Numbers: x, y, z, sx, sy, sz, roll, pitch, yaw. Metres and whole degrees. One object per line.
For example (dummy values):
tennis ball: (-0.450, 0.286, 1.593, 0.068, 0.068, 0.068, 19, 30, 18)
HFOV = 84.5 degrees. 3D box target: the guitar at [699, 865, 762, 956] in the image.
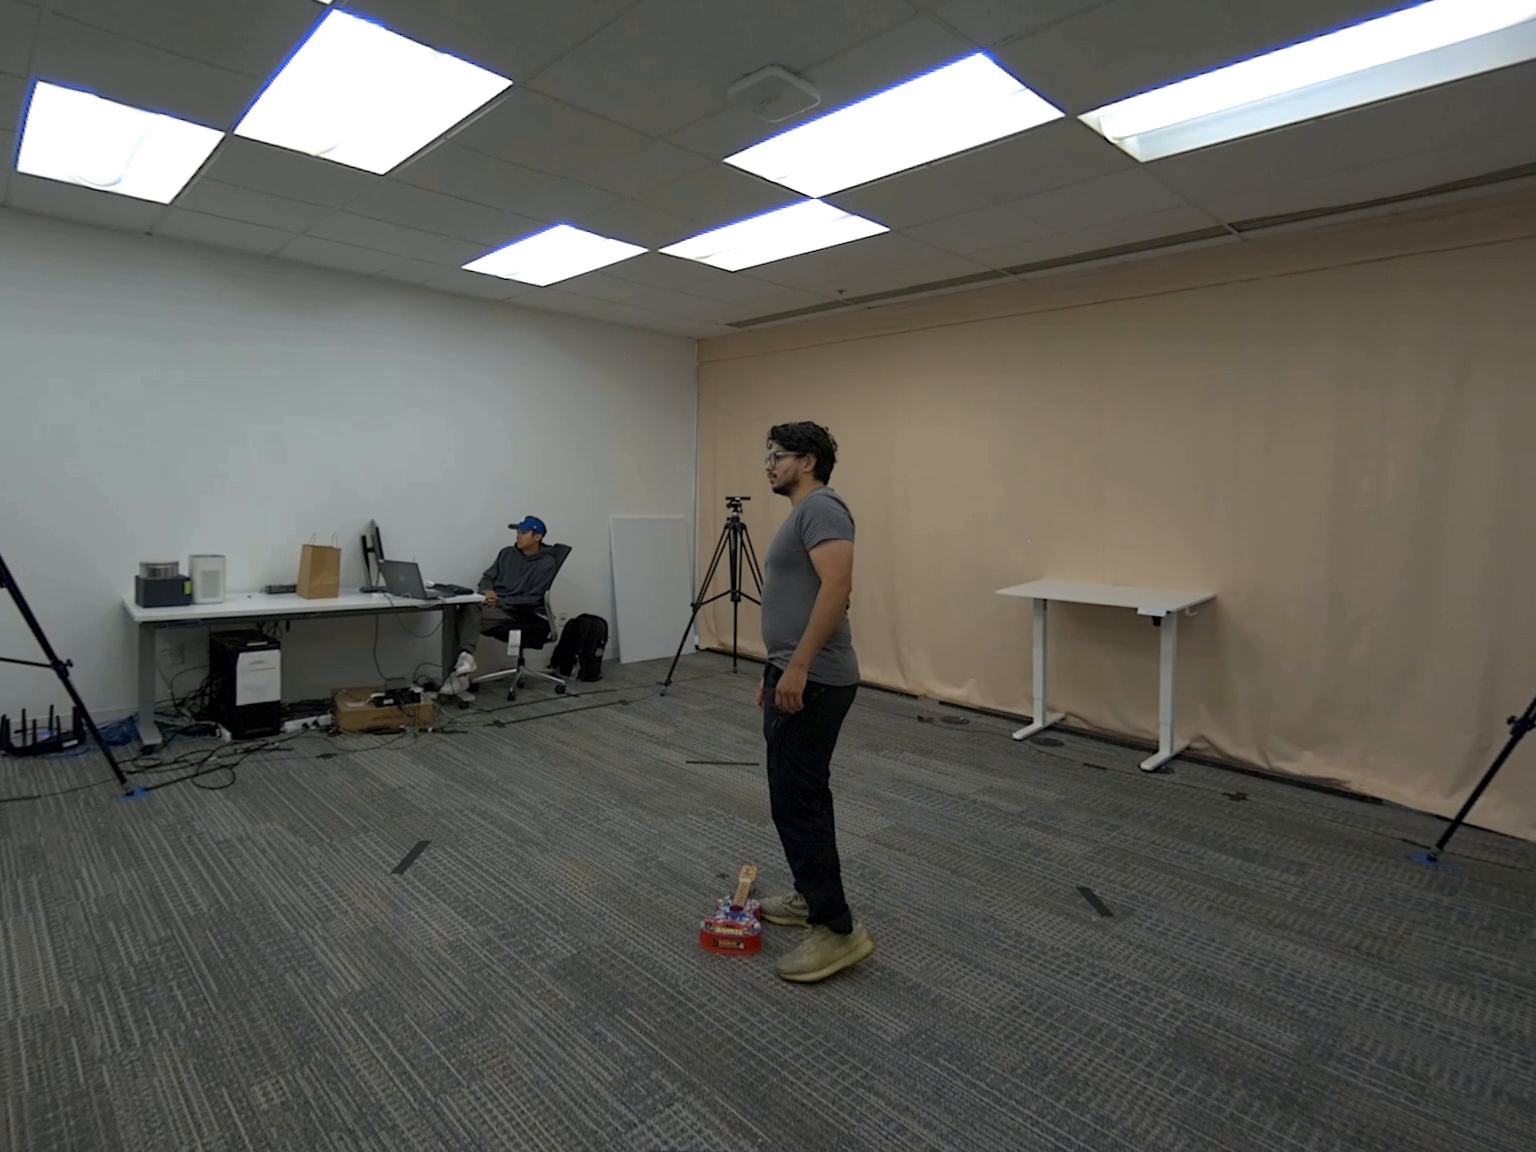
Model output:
guitar: (-0.070, 1.096, 2.801, 0.195, 0.070, 0.493, 1, 6, 16)
